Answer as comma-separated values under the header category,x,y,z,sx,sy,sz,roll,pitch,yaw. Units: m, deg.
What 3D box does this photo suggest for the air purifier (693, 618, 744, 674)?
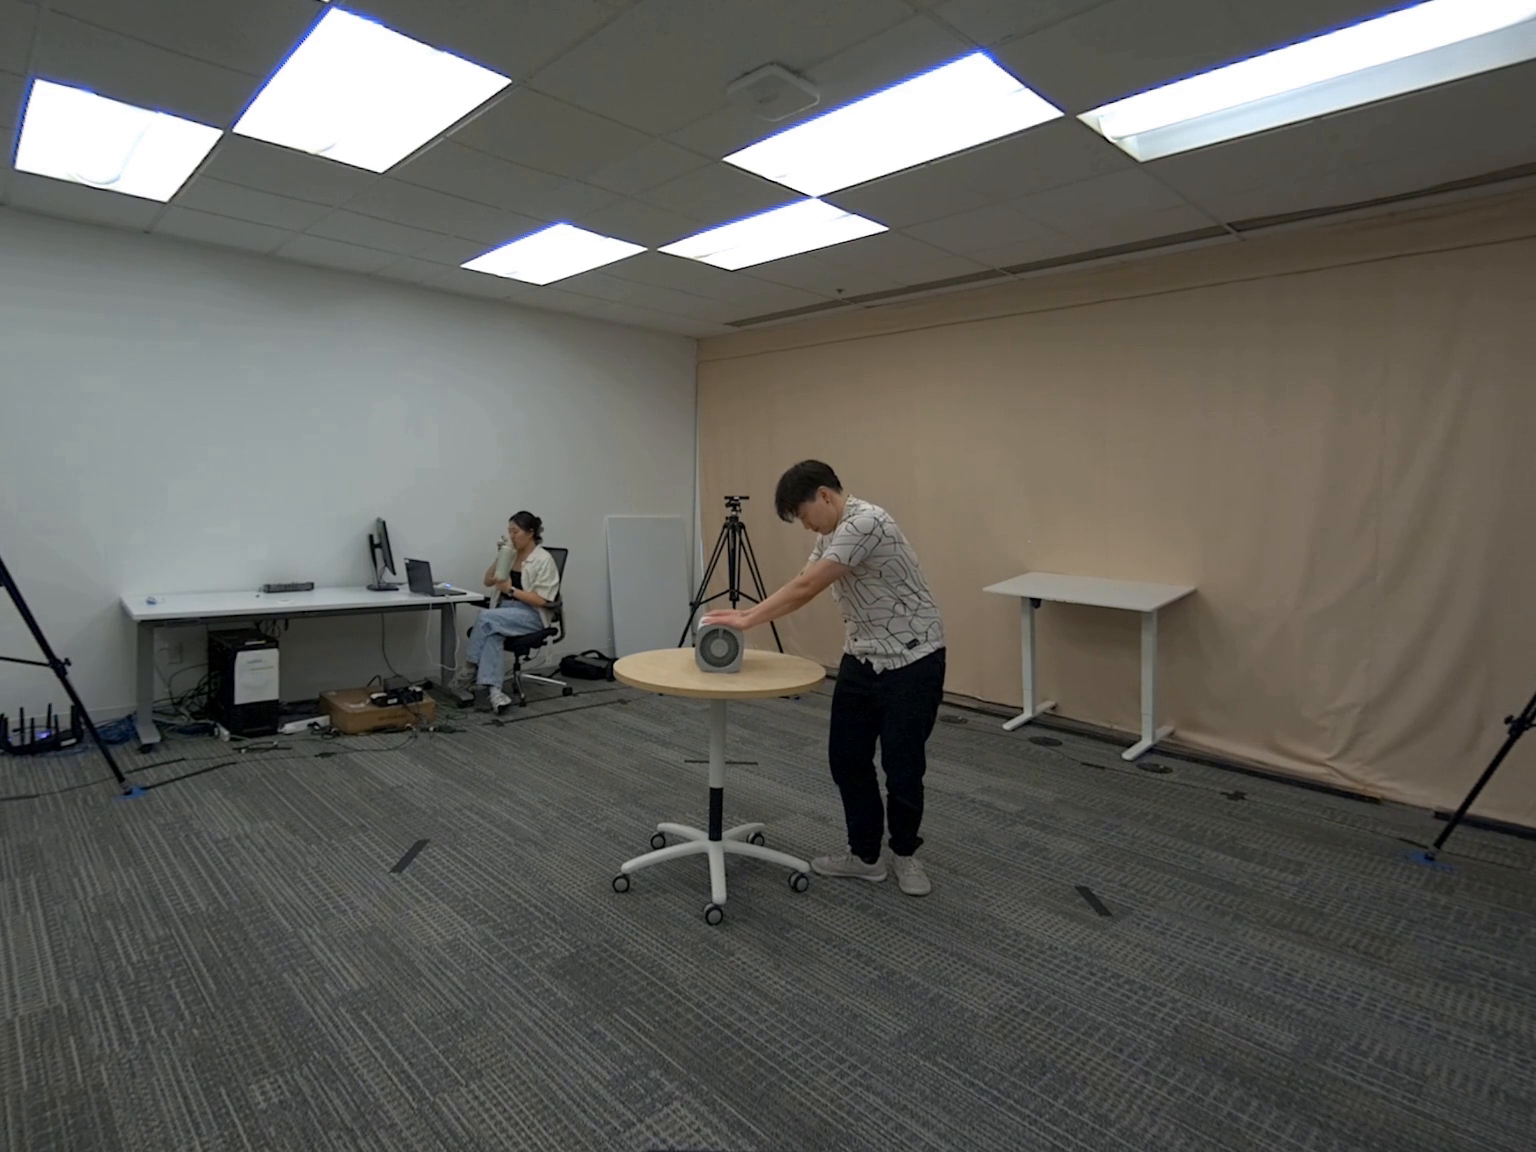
category,x,y,z,sx,sy,sz,roll,pitch,yaw
air purifier,-0.174,0.238,3.073,0.171,0.171,0.266,5,3,-1
